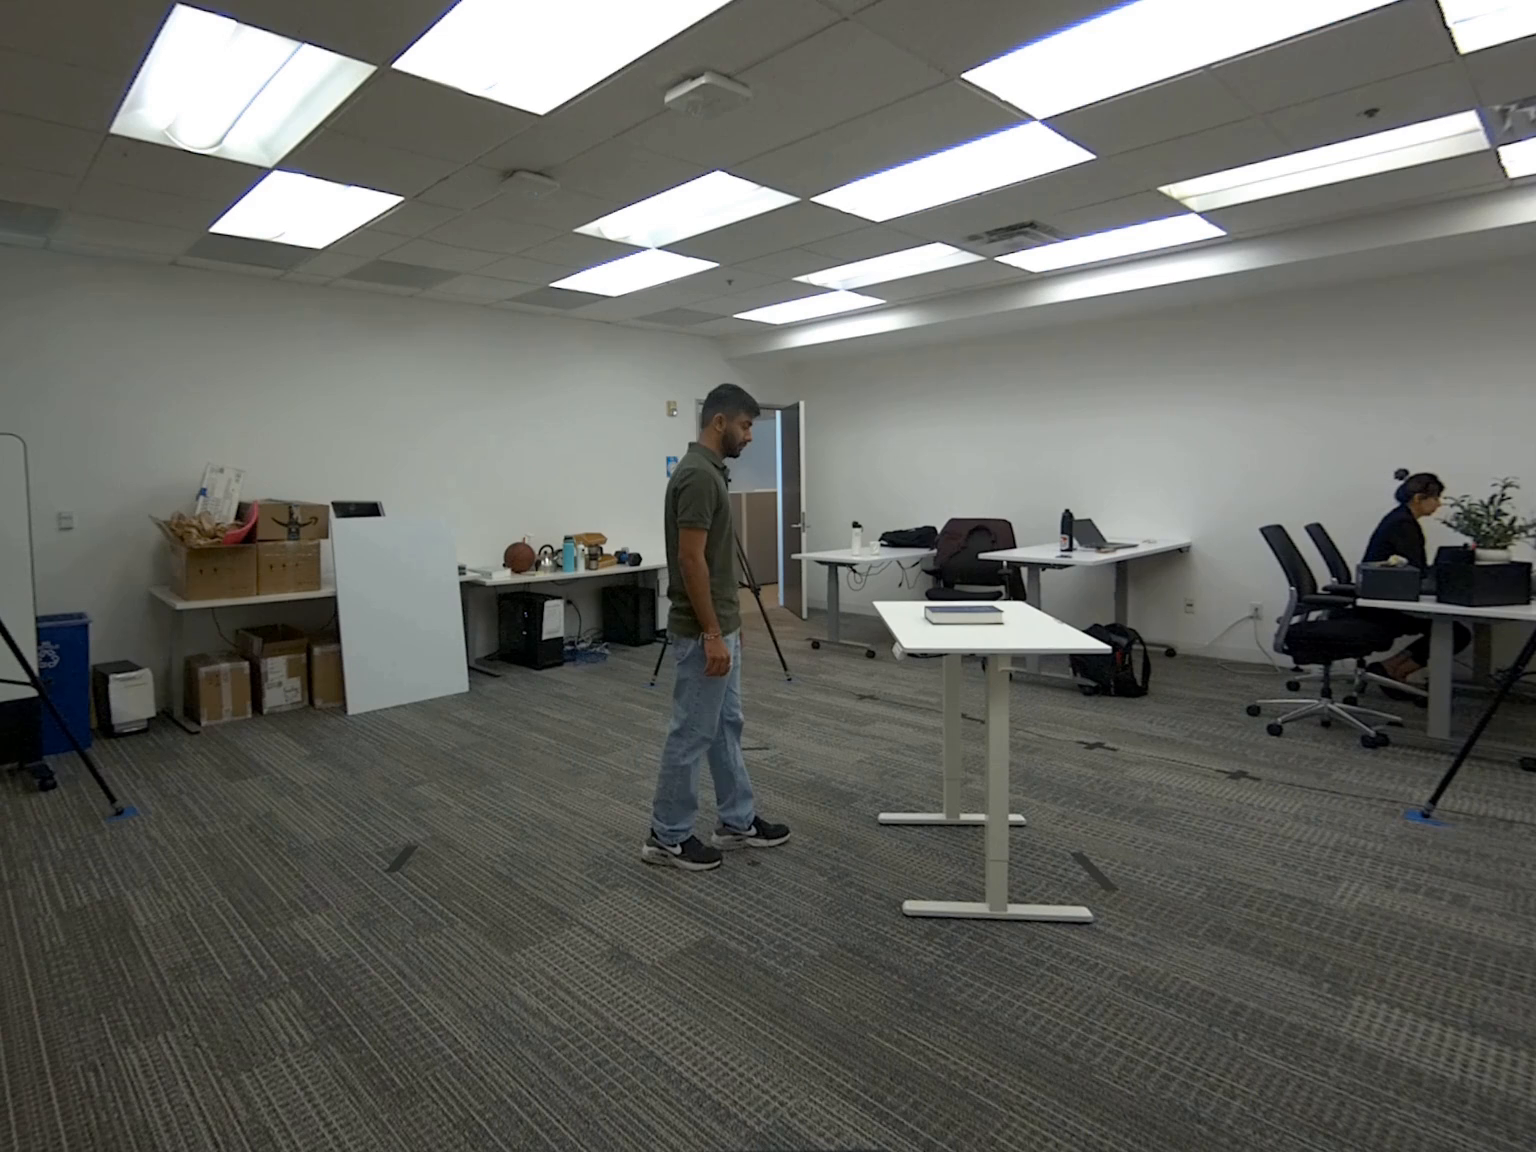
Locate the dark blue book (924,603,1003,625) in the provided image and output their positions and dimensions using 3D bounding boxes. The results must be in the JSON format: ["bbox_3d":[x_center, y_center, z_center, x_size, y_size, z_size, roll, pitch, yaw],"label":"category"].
[{"bbox_3d":[0.688,0.135,3.028,0.246,0.045,0.164,0,6,2],"label":"dark blue book"}]
